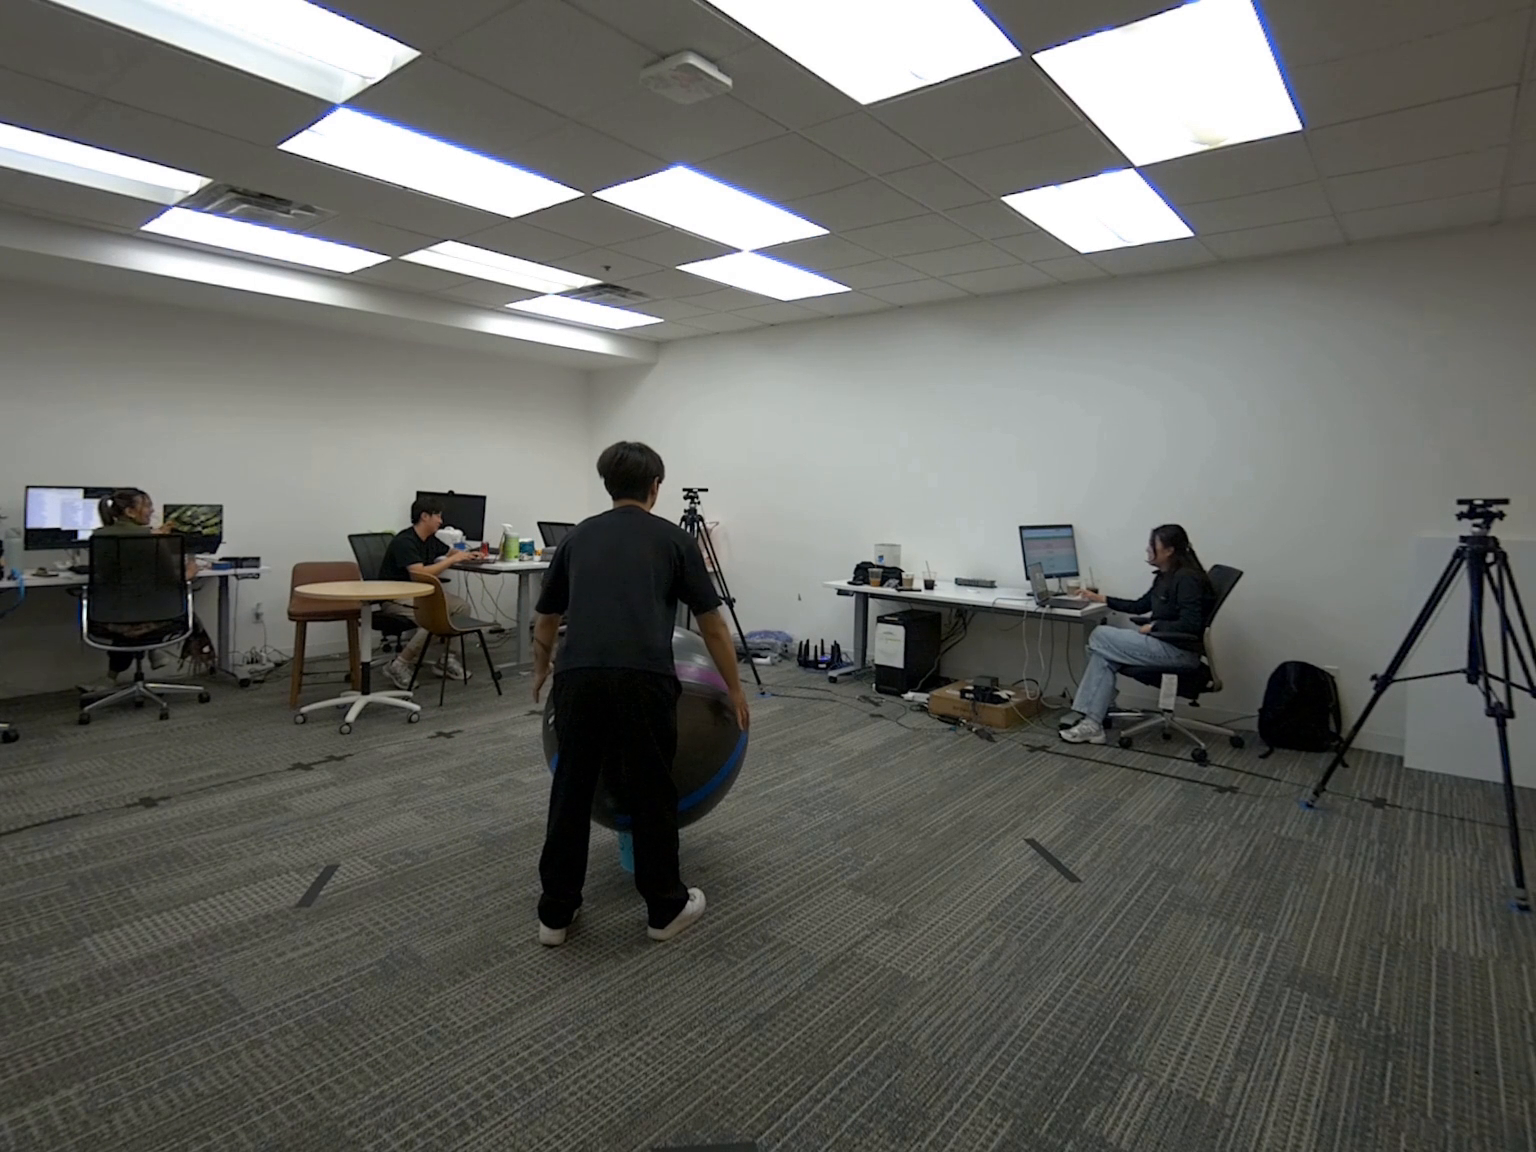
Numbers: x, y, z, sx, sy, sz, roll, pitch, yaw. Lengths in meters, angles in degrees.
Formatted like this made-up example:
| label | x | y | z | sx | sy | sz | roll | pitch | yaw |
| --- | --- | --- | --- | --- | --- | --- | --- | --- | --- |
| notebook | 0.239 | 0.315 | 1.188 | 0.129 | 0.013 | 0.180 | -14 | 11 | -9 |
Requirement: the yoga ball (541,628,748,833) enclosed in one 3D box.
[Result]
| label | x | y | z | sx | sy | sz | roll | pitch | yaw |
| --- | --- | --- | --- | --- | --- | --- | --- | --- | --- |
| yoga ball | -0.463 | 0.552 | 3.130 | 0.757 | 0.755 | 0.762 | 1 | 4 | -2 |
